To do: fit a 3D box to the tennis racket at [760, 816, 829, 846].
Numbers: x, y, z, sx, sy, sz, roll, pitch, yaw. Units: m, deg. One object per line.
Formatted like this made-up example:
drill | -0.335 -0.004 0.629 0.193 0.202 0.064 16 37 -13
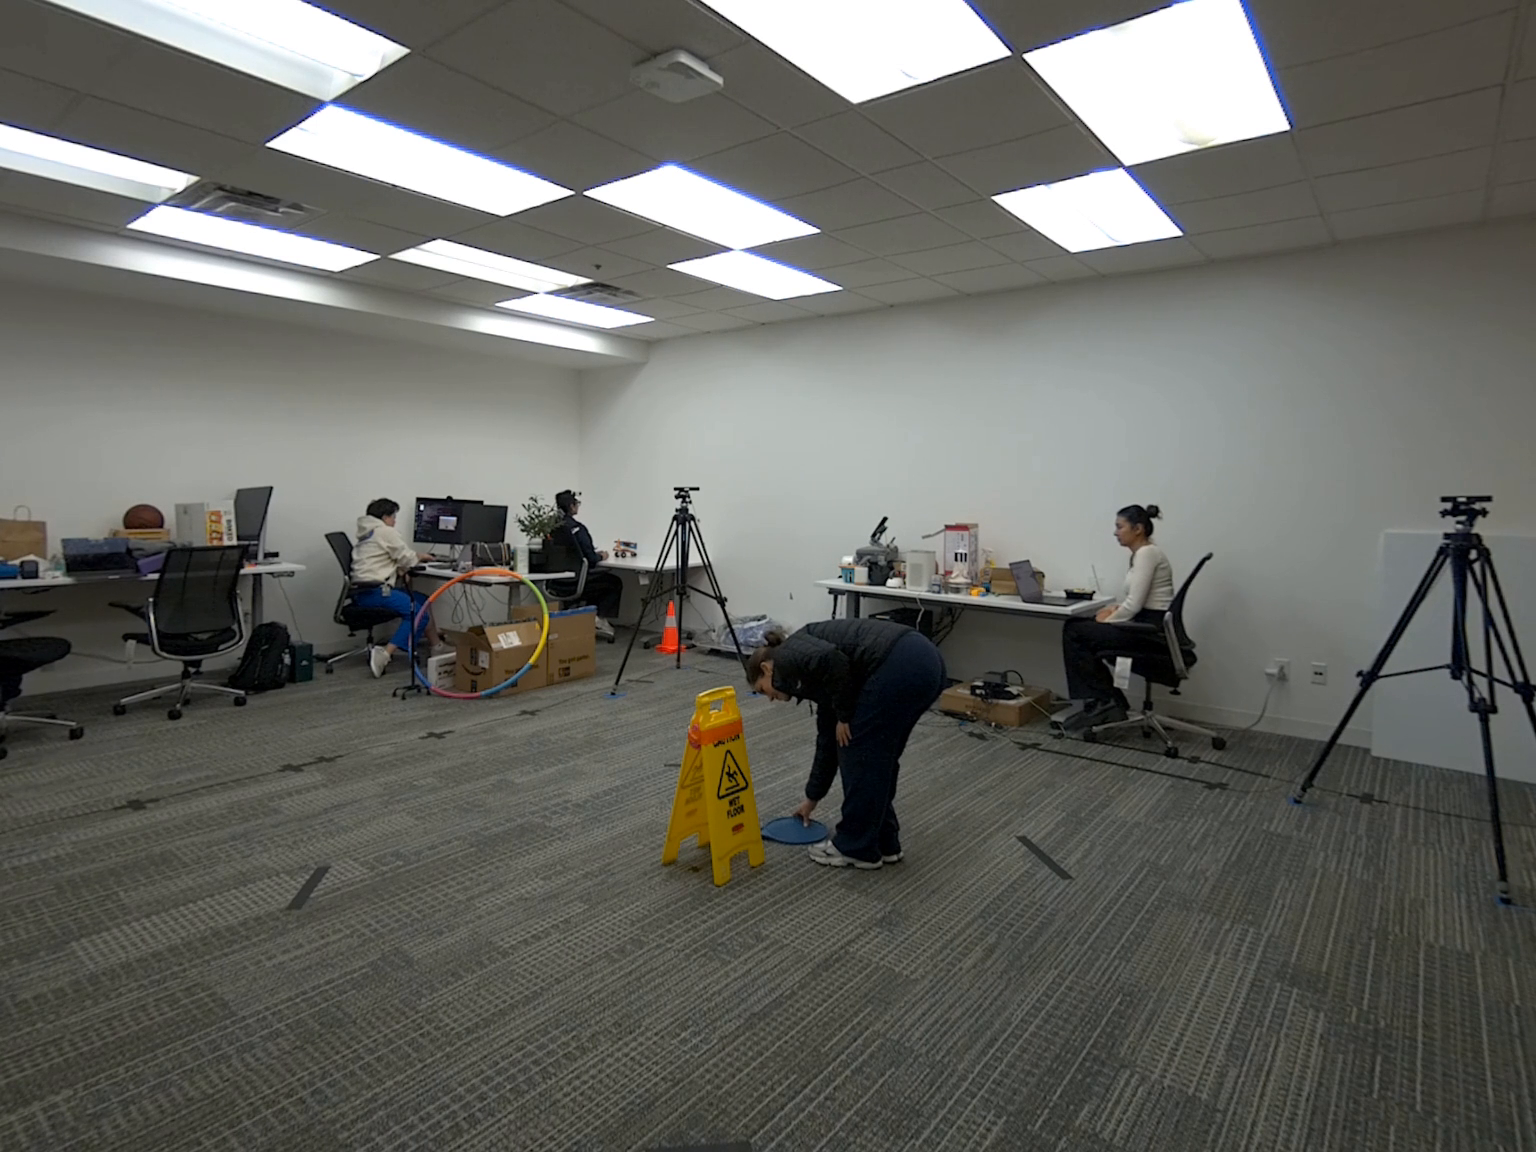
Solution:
tennis racket | 0.056 1.019 3.427 0.426 0.031 0.219 0 9 -16
